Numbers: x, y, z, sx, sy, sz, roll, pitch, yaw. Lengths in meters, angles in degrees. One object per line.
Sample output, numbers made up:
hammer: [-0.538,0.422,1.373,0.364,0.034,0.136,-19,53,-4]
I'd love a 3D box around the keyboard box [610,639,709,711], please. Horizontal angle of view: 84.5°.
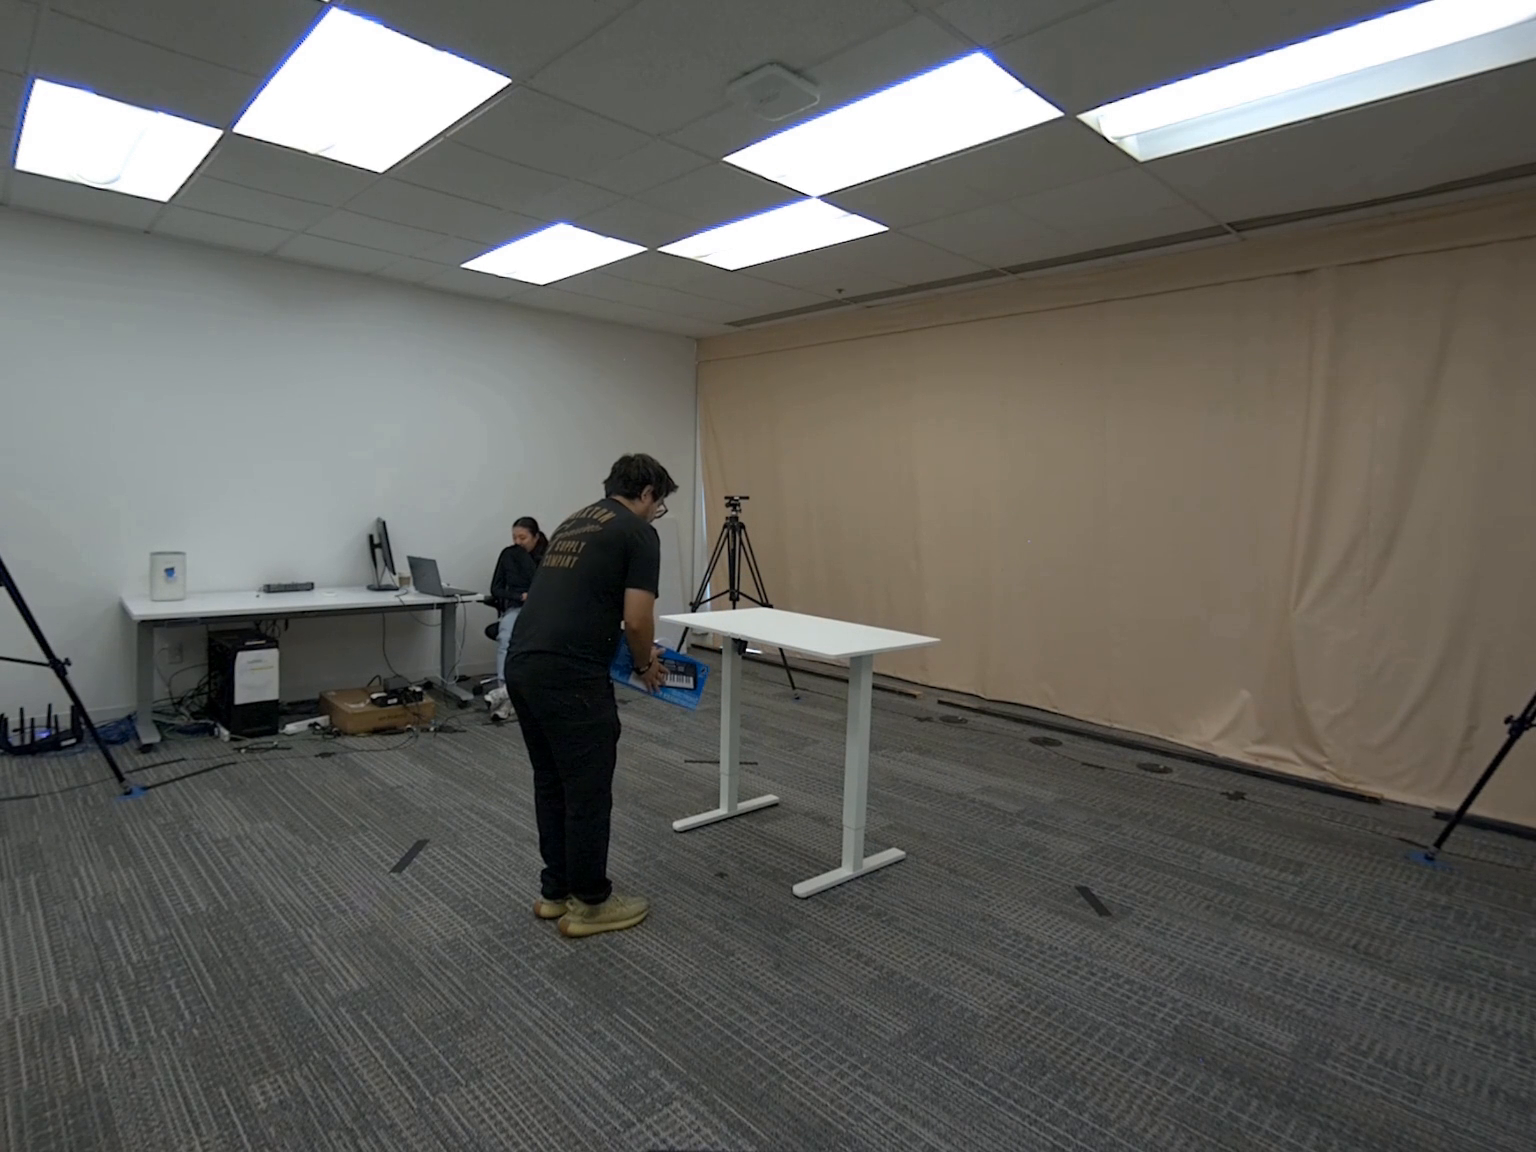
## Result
keyboard box: [-0.402,0.335,2.966,0.060,0.177,0.423,4,-19,45]
